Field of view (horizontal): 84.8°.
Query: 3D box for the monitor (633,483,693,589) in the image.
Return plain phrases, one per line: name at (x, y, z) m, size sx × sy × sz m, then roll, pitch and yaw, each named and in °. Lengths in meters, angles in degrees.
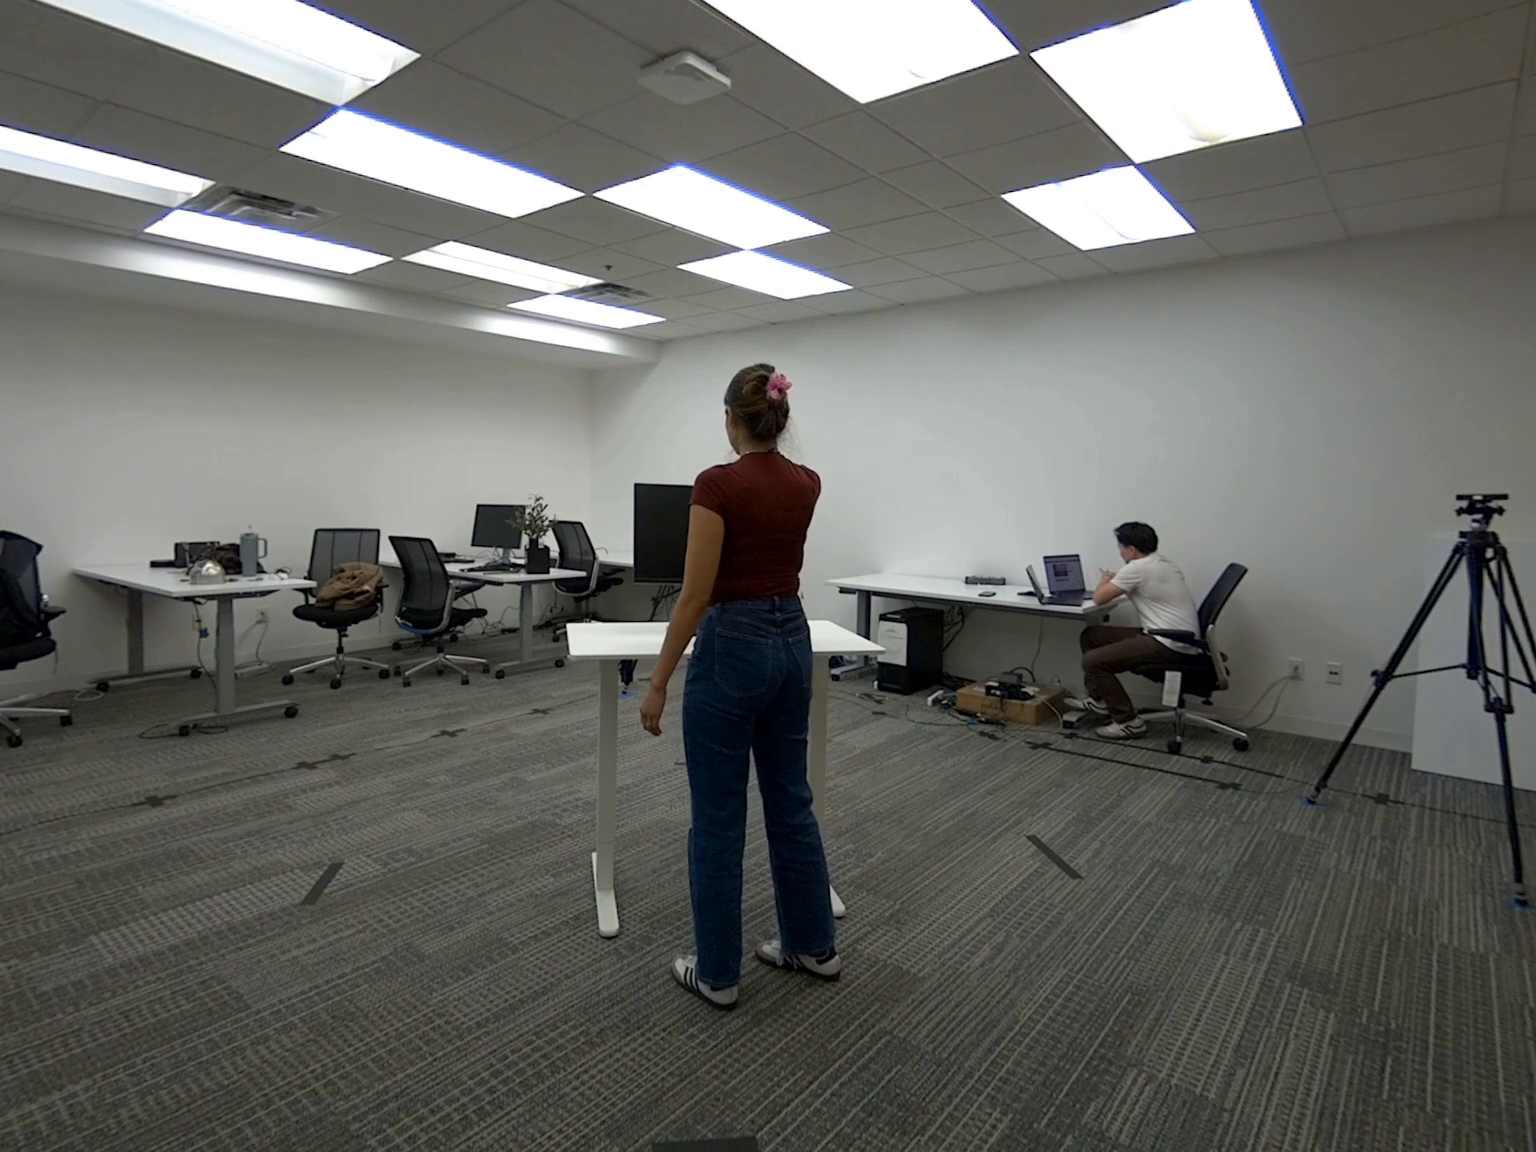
monitor at (-0.219, -0.058, 2.993) m, size 0.531 × 0.522 × 0.190 m, roll 1°, pitch 1°, yaw -14°
